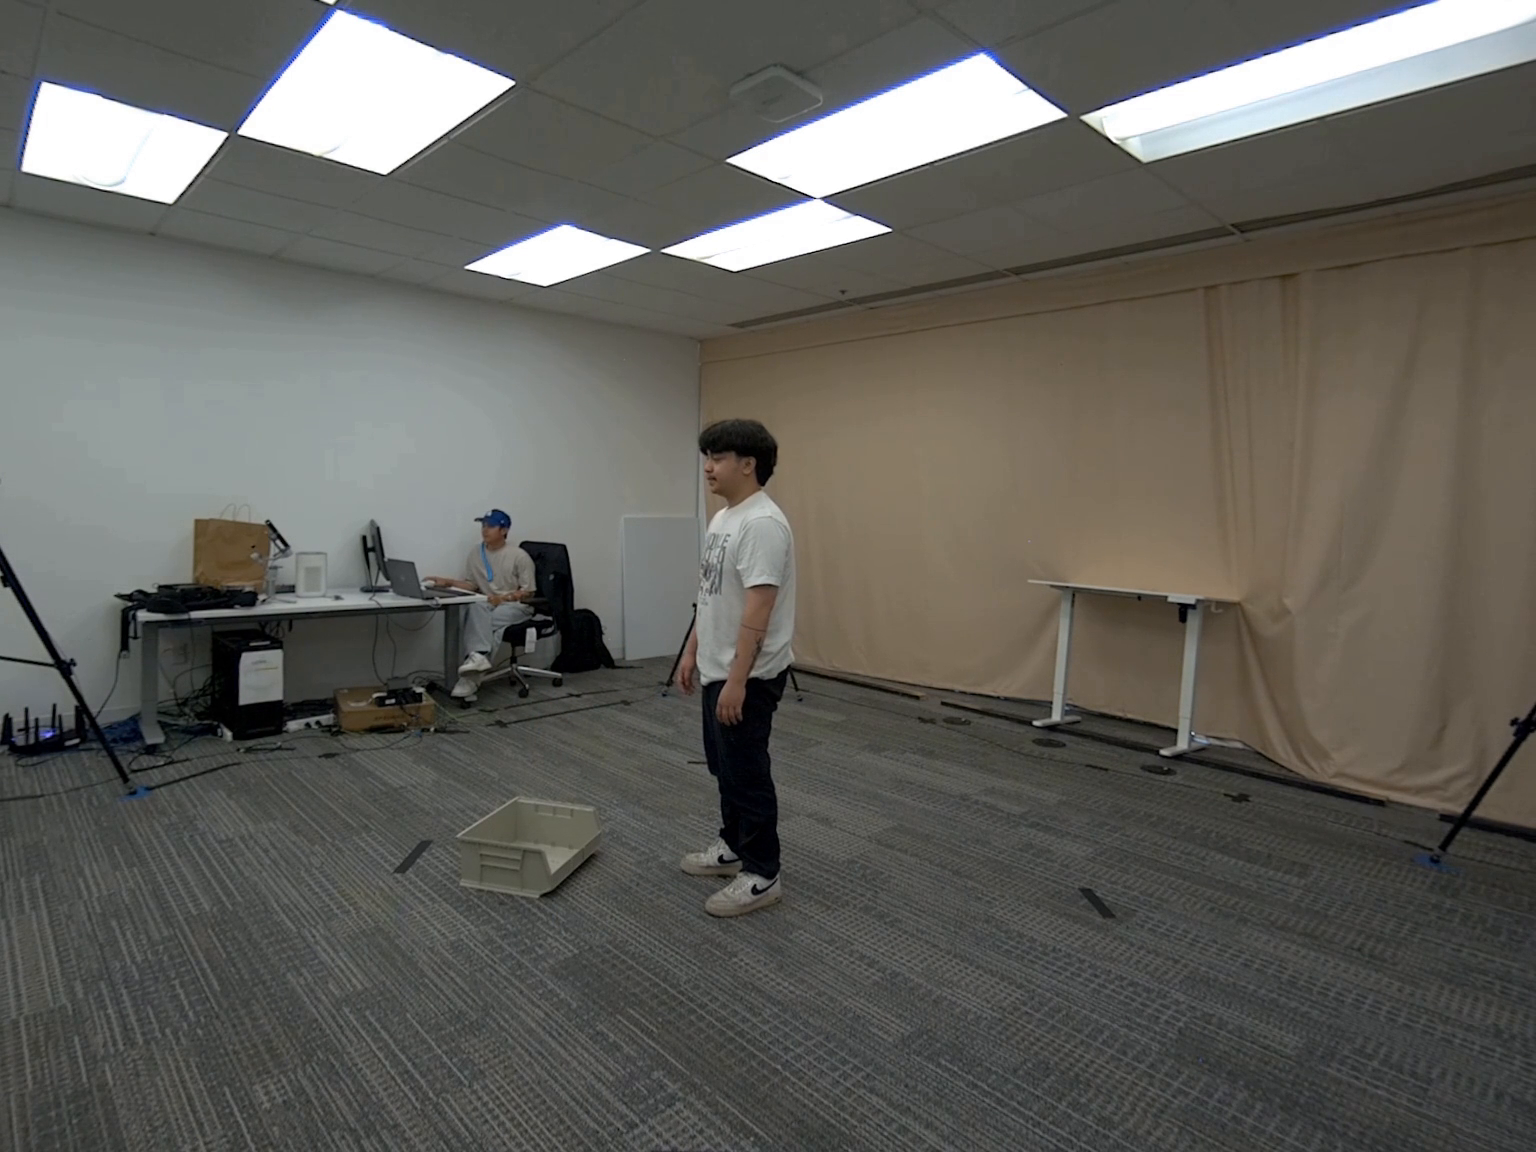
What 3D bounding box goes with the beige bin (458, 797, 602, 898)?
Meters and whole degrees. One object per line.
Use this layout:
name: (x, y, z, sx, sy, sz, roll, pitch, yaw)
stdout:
beige bin: (-0.883, 1.000, 3.129, 0.382, 0.188, 0.419, 2, 6, 14)
